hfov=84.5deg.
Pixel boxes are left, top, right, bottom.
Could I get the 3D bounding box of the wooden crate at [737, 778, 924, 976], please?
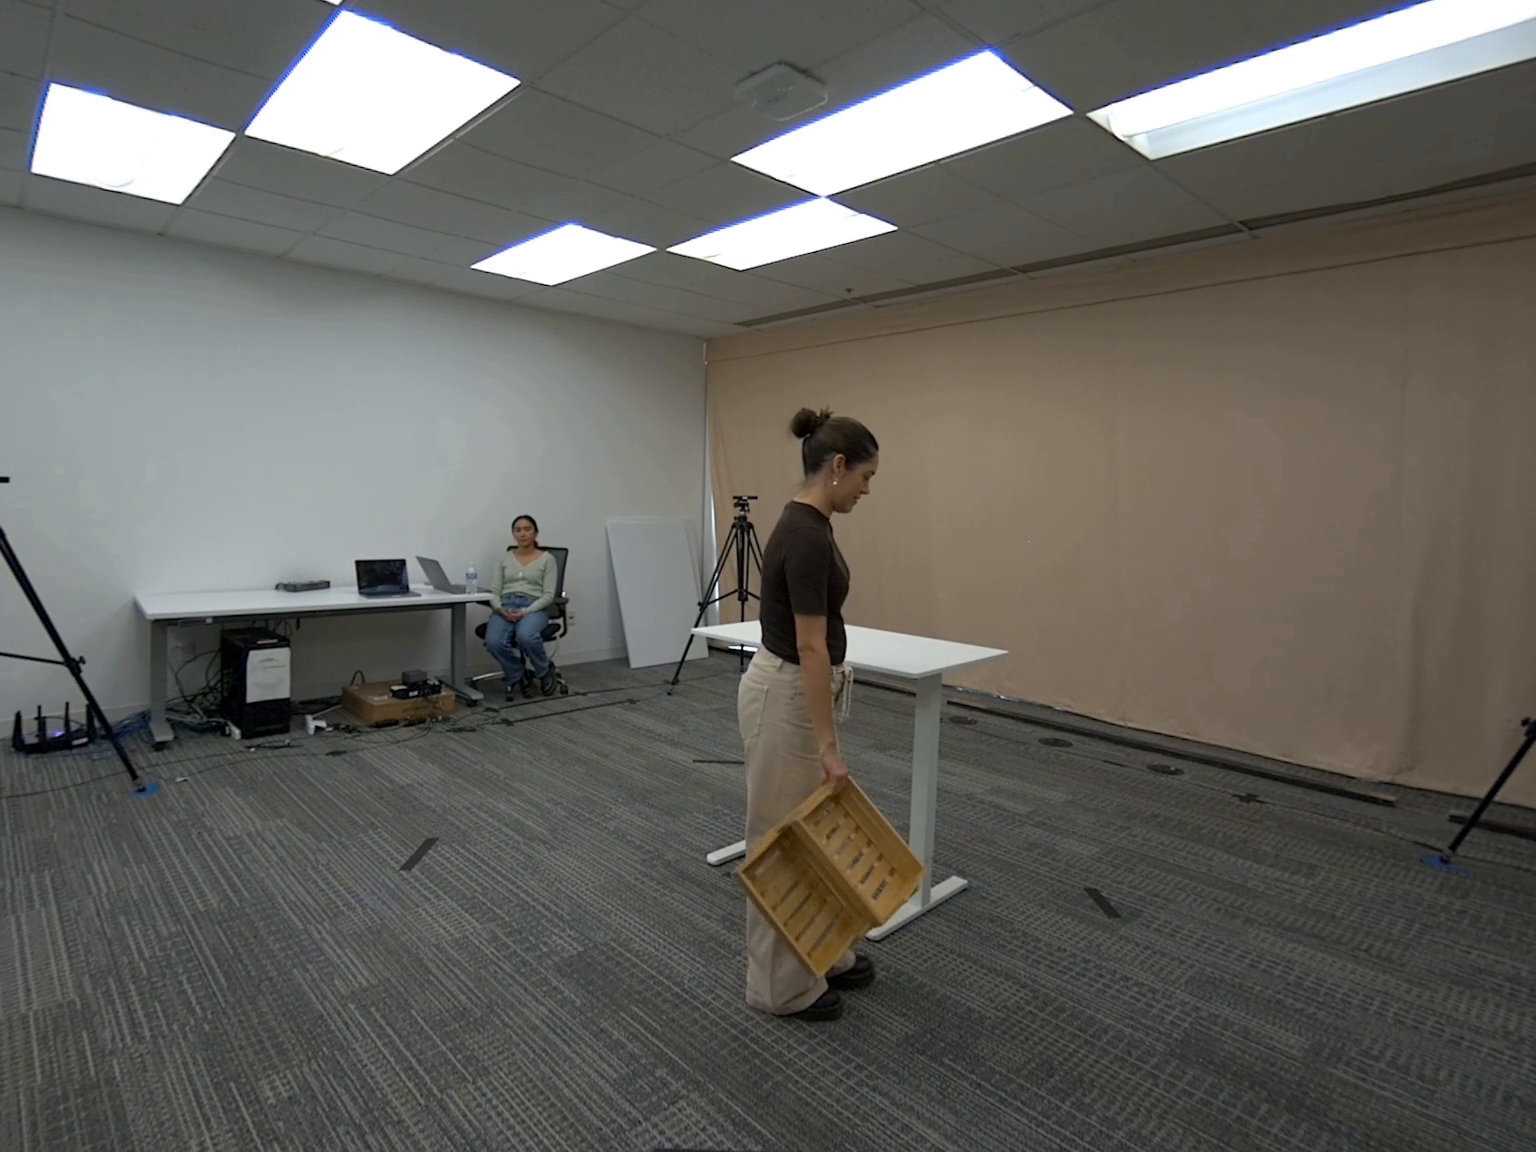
[{"bbox_3d":[0.143,0.723,2.046,0.273,0.329,0.298,-49,-14,32],"label":"wooden crate"}]
